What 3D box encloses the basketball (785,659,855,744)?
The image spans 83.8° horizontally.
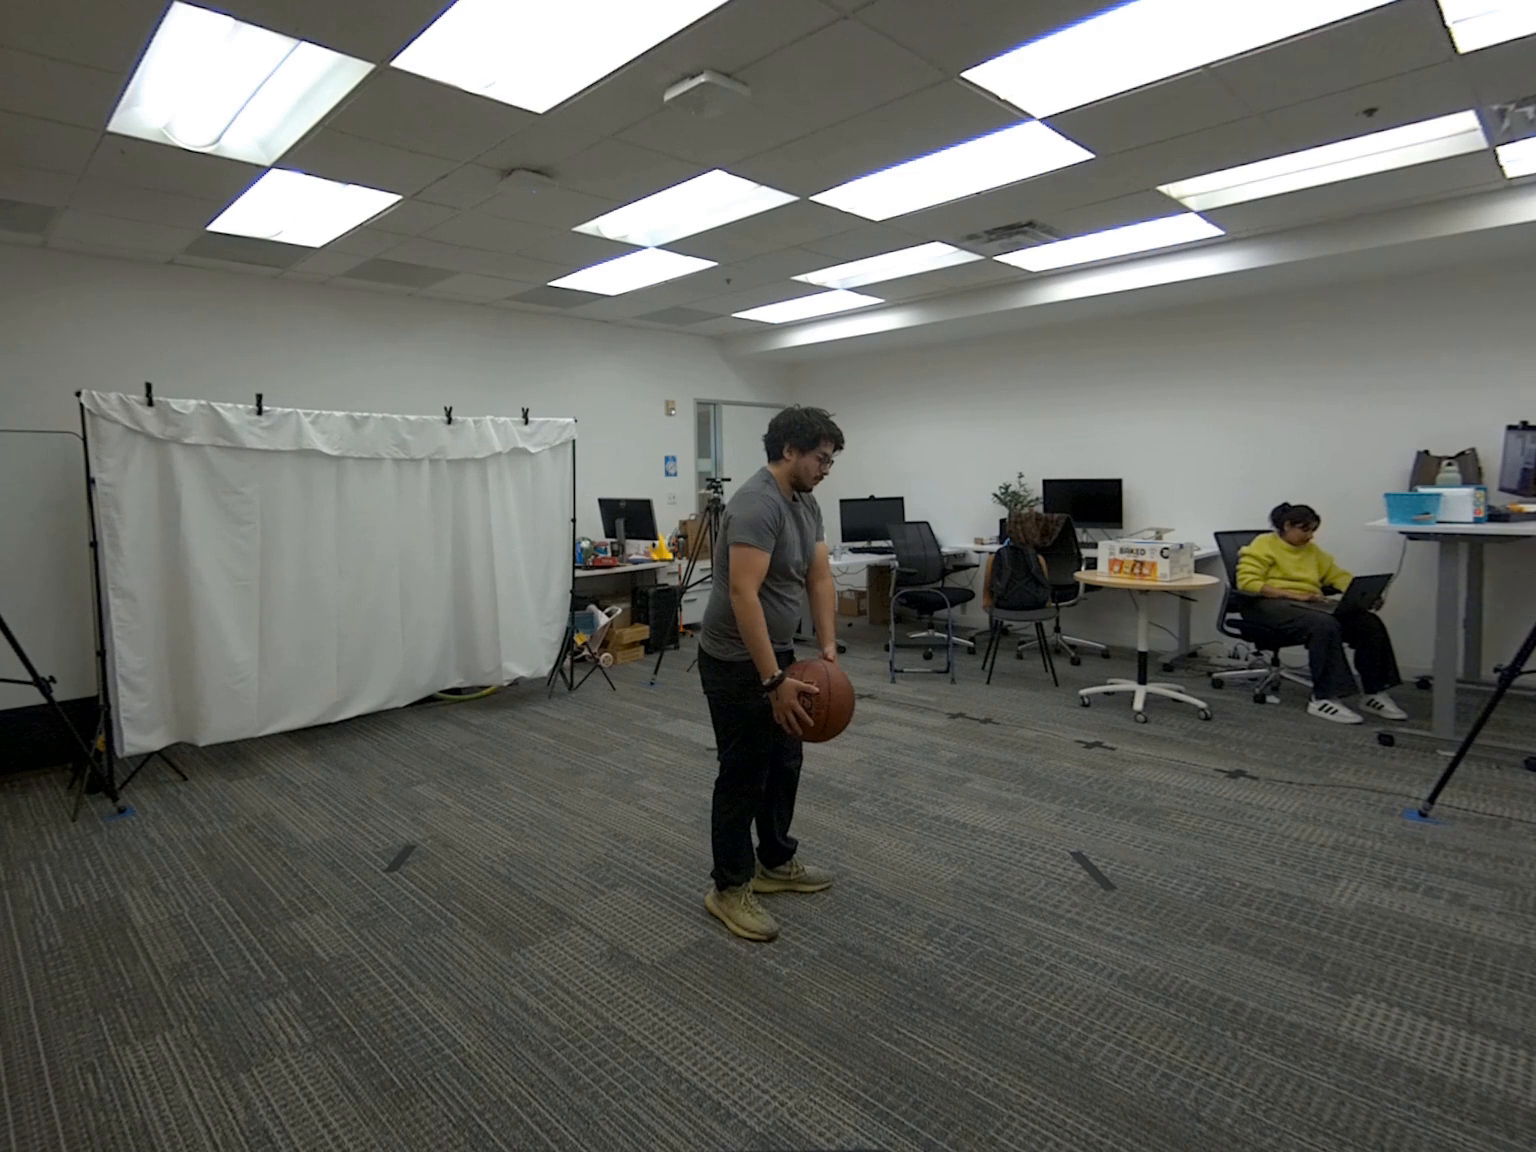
[{"bbox_3d":[0.125,0.350,2.452,0.236,0.235,0.237,-1,5,-2],"label":"basketball"}]
